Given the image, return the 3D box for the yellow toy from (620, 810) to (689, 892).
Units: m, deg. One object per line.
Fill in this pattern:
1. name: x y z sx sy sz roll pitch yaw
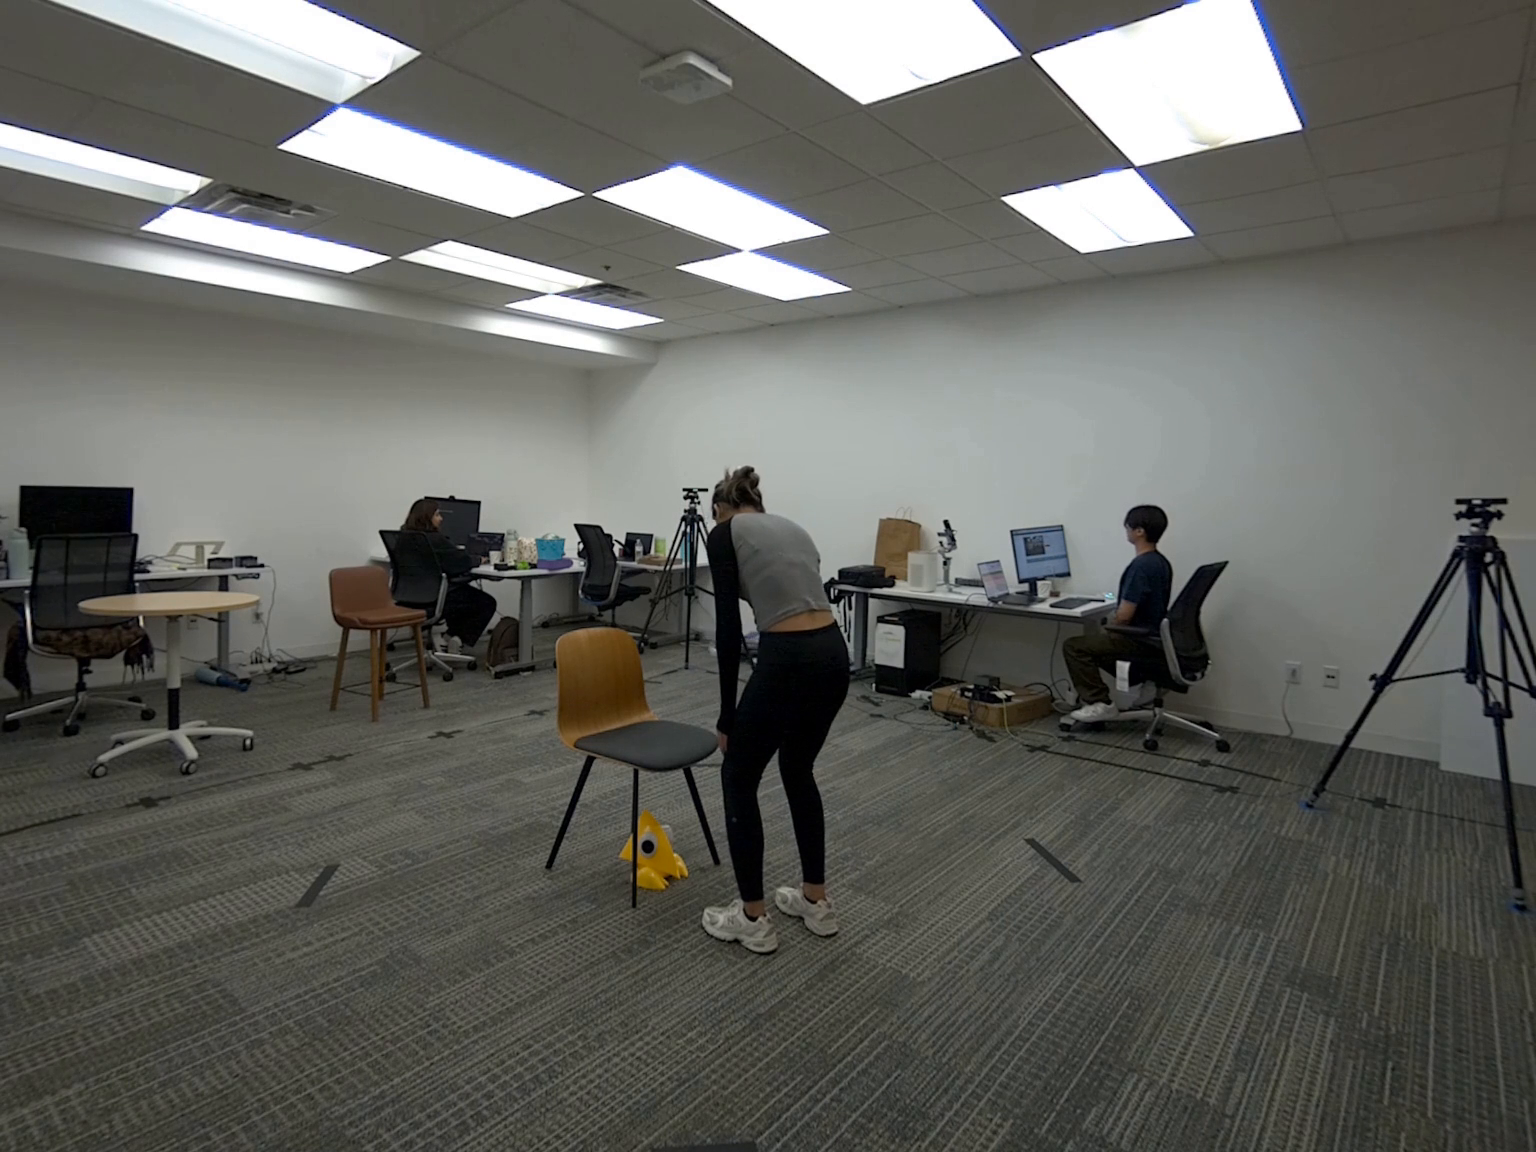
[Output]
1. yellow toy: -0.404 0.962 3.046 0.199 0.230 0.199 3 3 36
